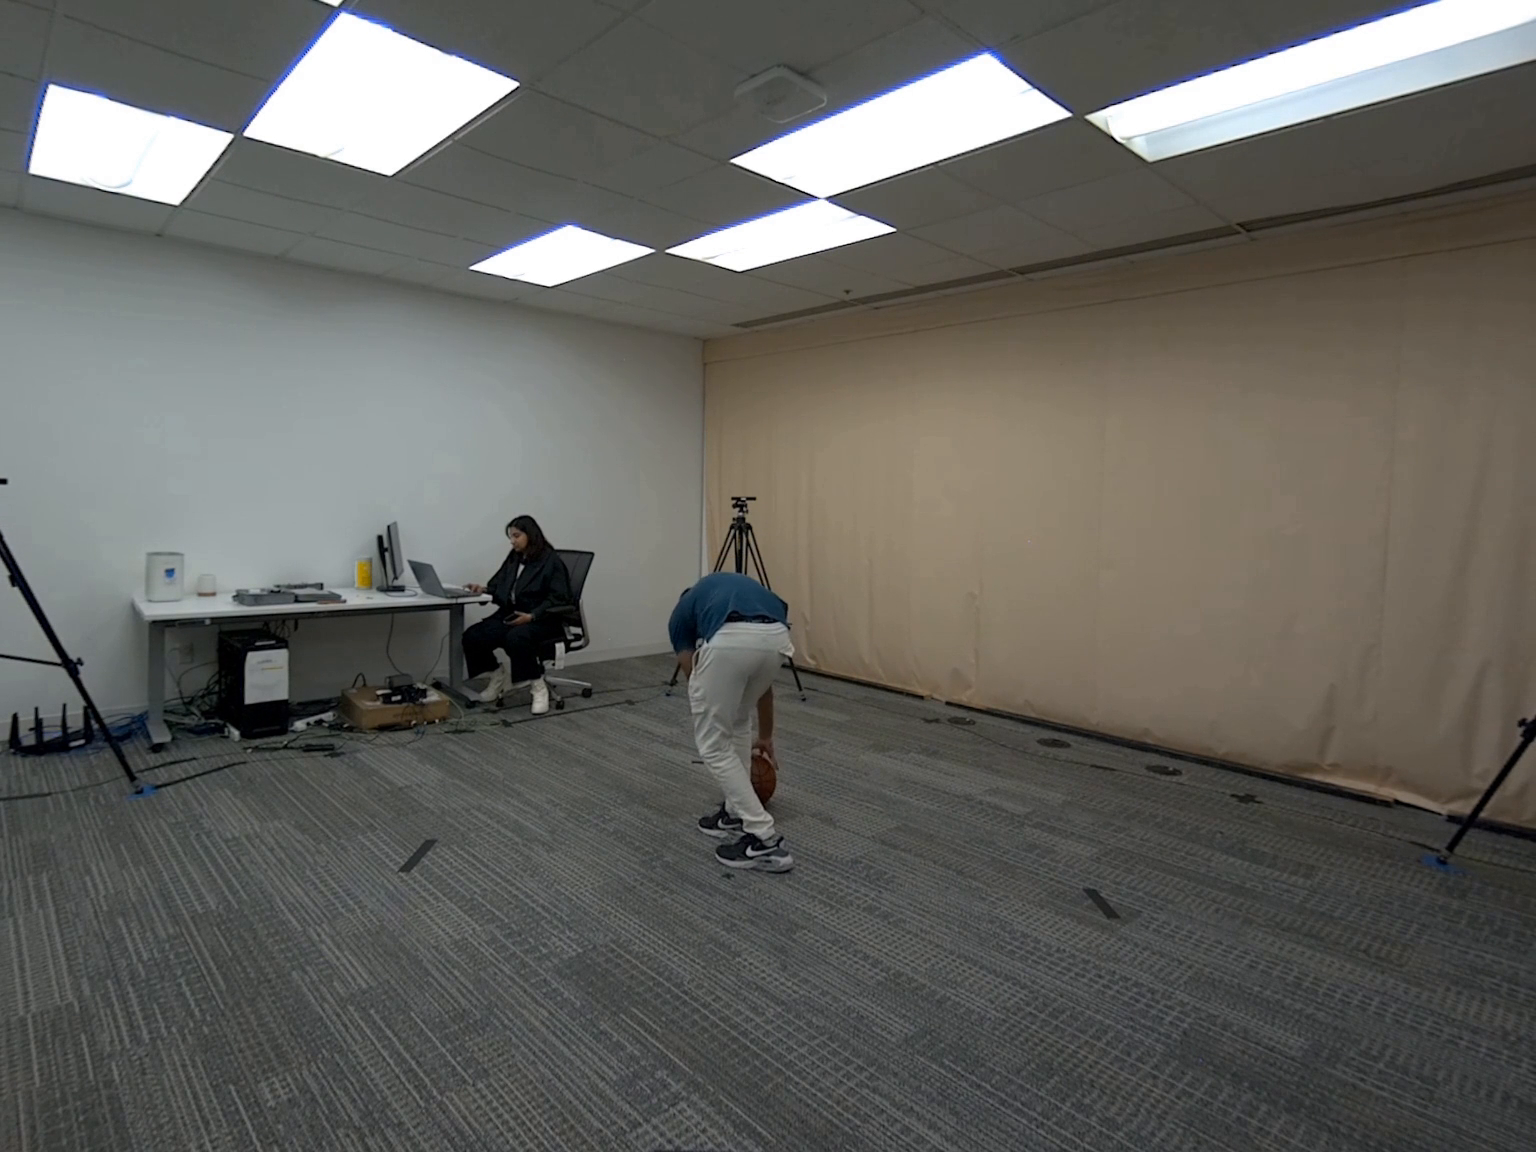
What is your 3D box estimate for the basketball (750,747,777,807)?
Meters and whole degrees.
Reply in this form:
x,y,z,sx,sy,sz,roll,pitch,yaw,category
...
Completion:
x,y,z,sx,sy,sz,roll,pitch,yaw,category
-0.089,0.921,3.826,0.236,0.235,0.237,1,4,-1,basketball
